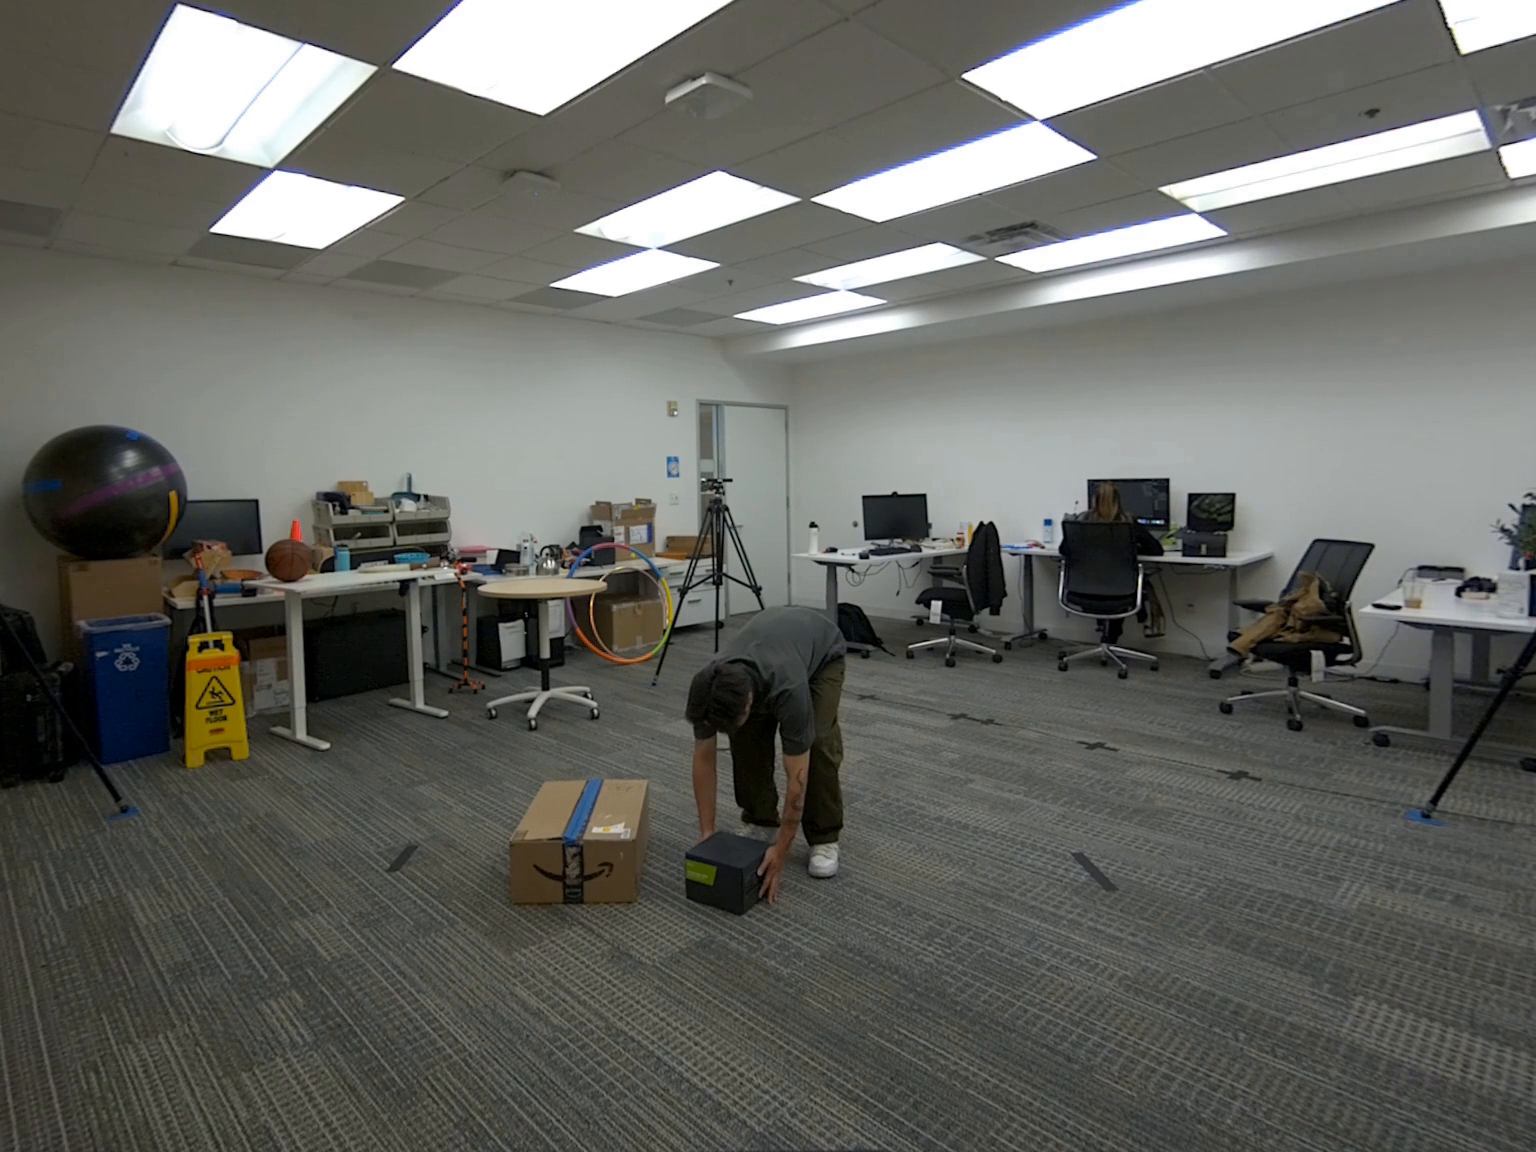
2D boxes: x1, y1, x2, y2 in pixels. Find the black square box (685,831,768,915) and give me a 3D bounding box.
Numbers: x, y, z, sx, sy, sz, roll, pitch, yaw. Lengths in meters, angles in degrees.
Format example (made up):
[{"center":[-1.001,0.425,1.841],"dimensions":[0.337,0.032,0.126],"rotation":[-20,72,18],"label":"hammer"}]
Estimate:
[{"center":[-0.126,0.994,2.876],"dimensions":[0.234,0.155,0.212],"rotation":[2,7,31],"label":"black square box"}]
